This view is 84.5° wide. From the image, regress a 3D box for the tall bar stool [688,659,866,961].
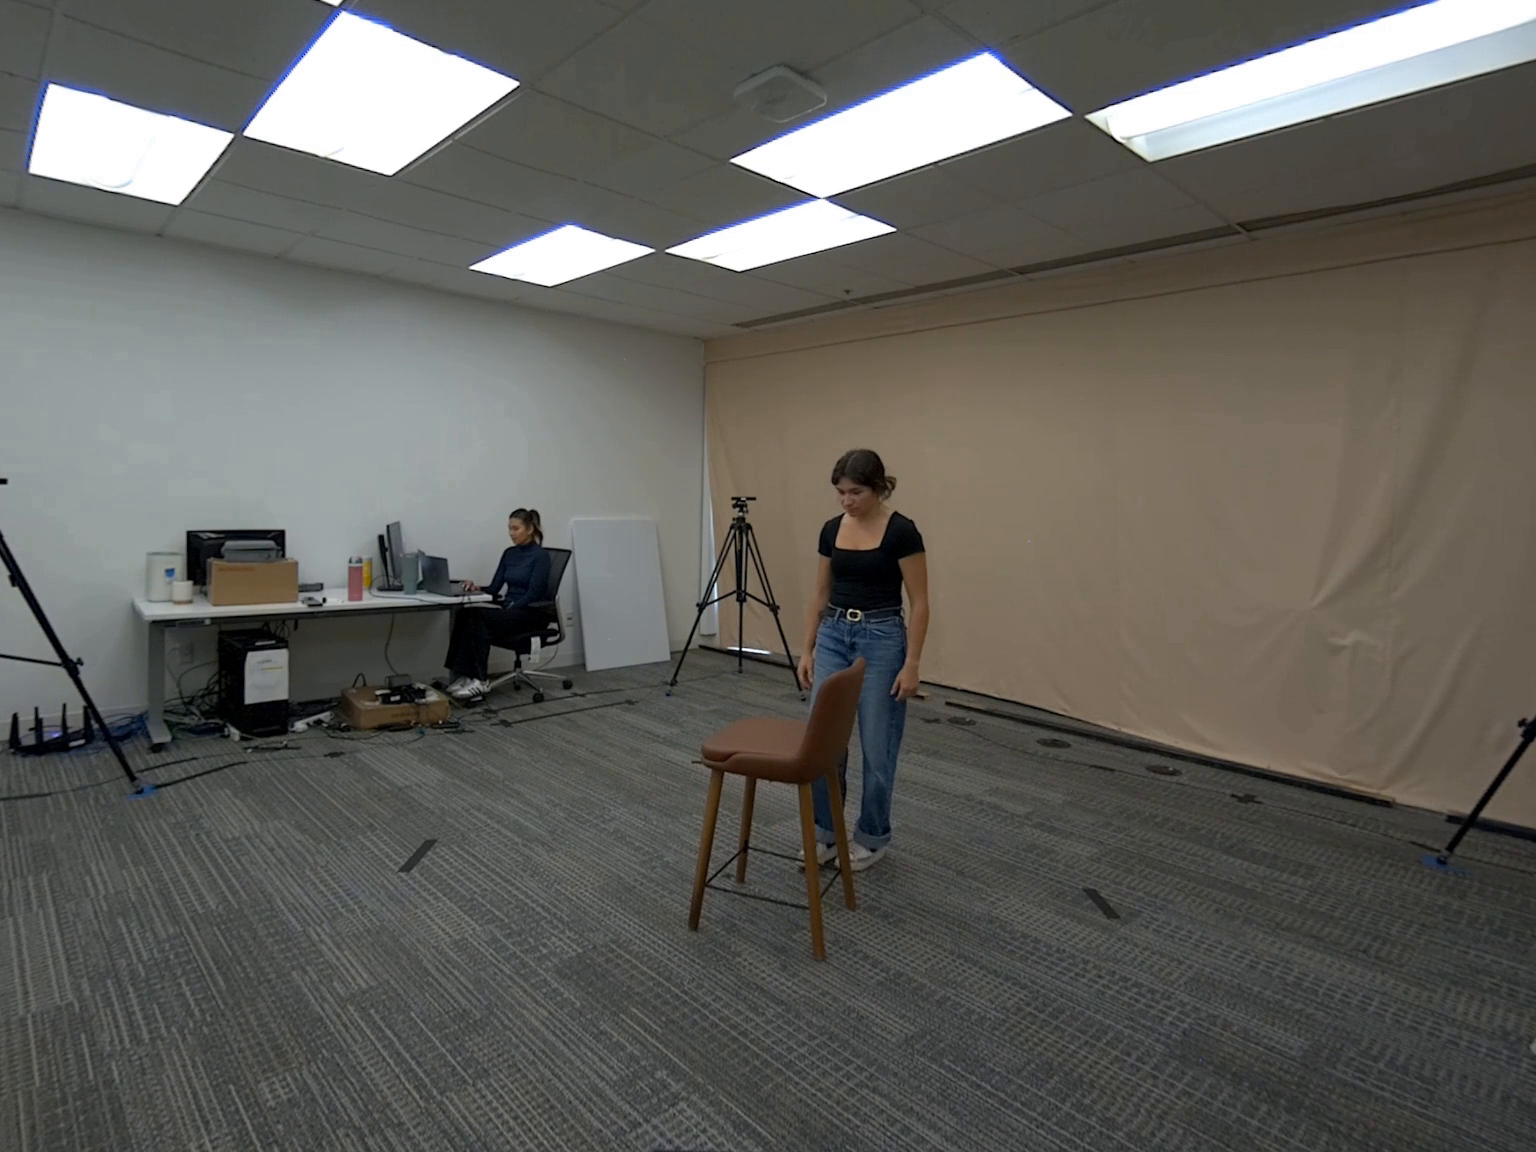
[{"bbox_3d":[0.036,0.708,2.768,0.477,0.887,0.449,5,5,24],"label":"tall bar stool"}]
